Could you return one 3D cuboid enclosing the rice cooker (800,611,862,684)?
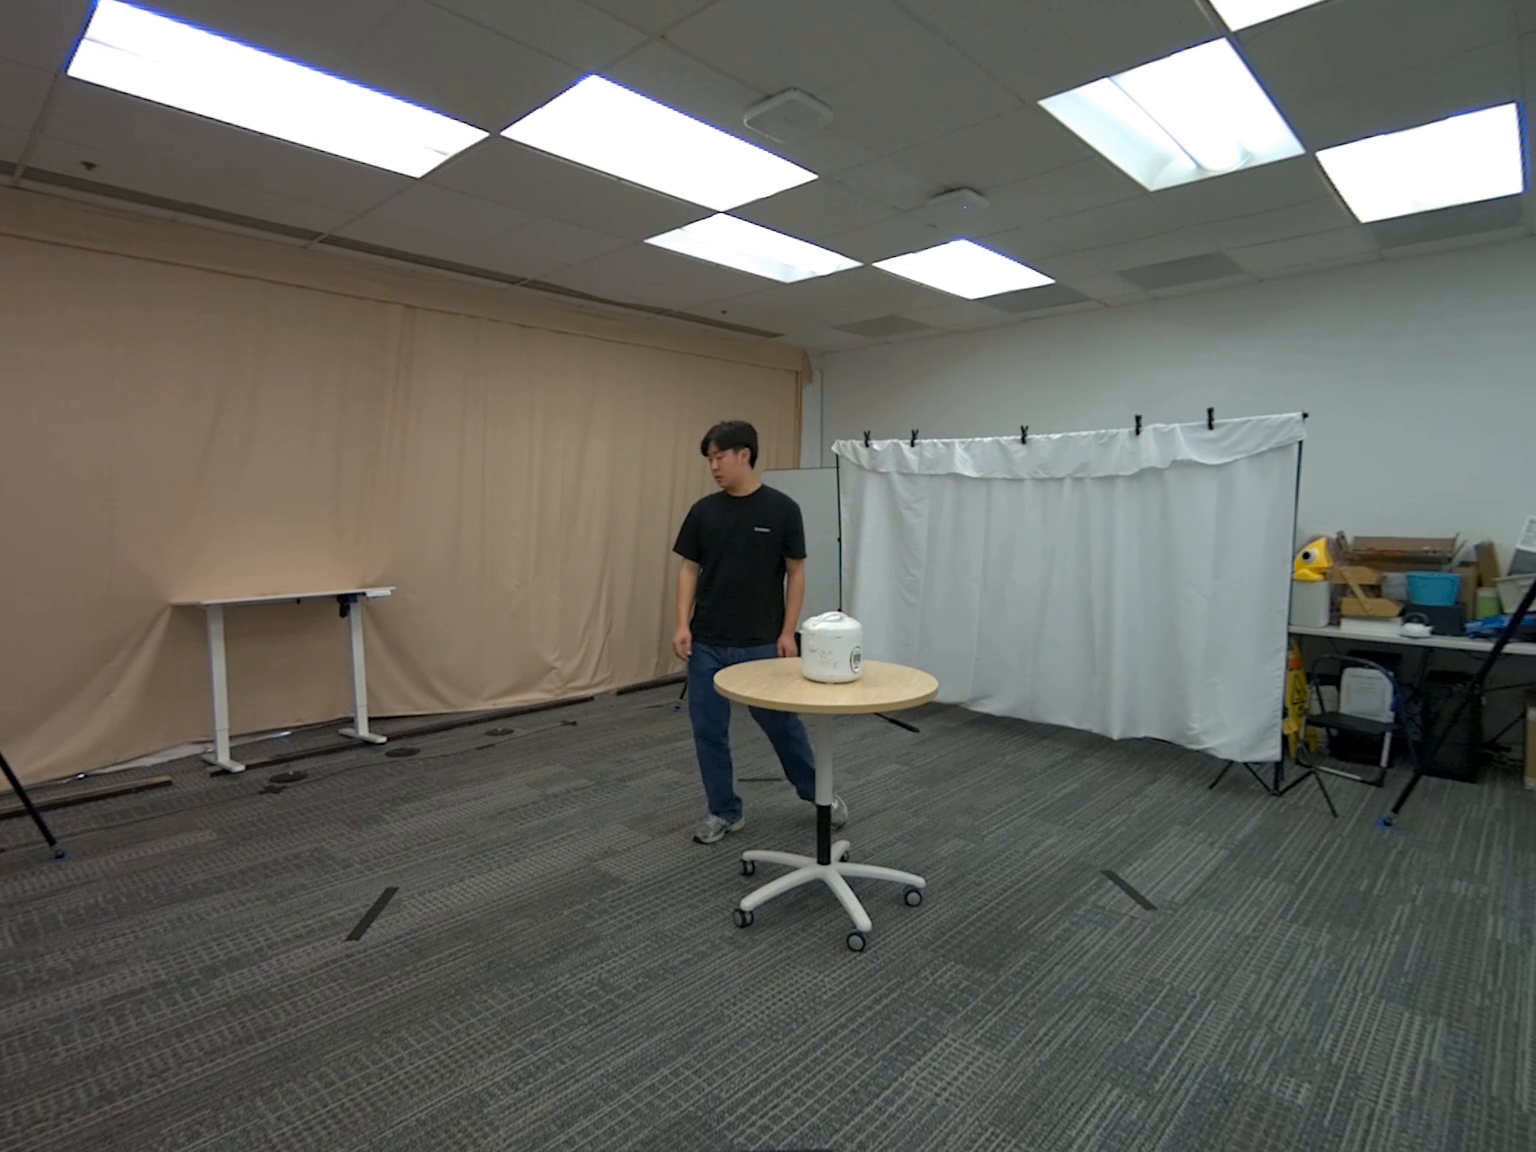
[{"bbox_3d":[0.224,0.238,2.898,0.224,0.232,0.214,2,5,45],"label":"rice cooker"}]
